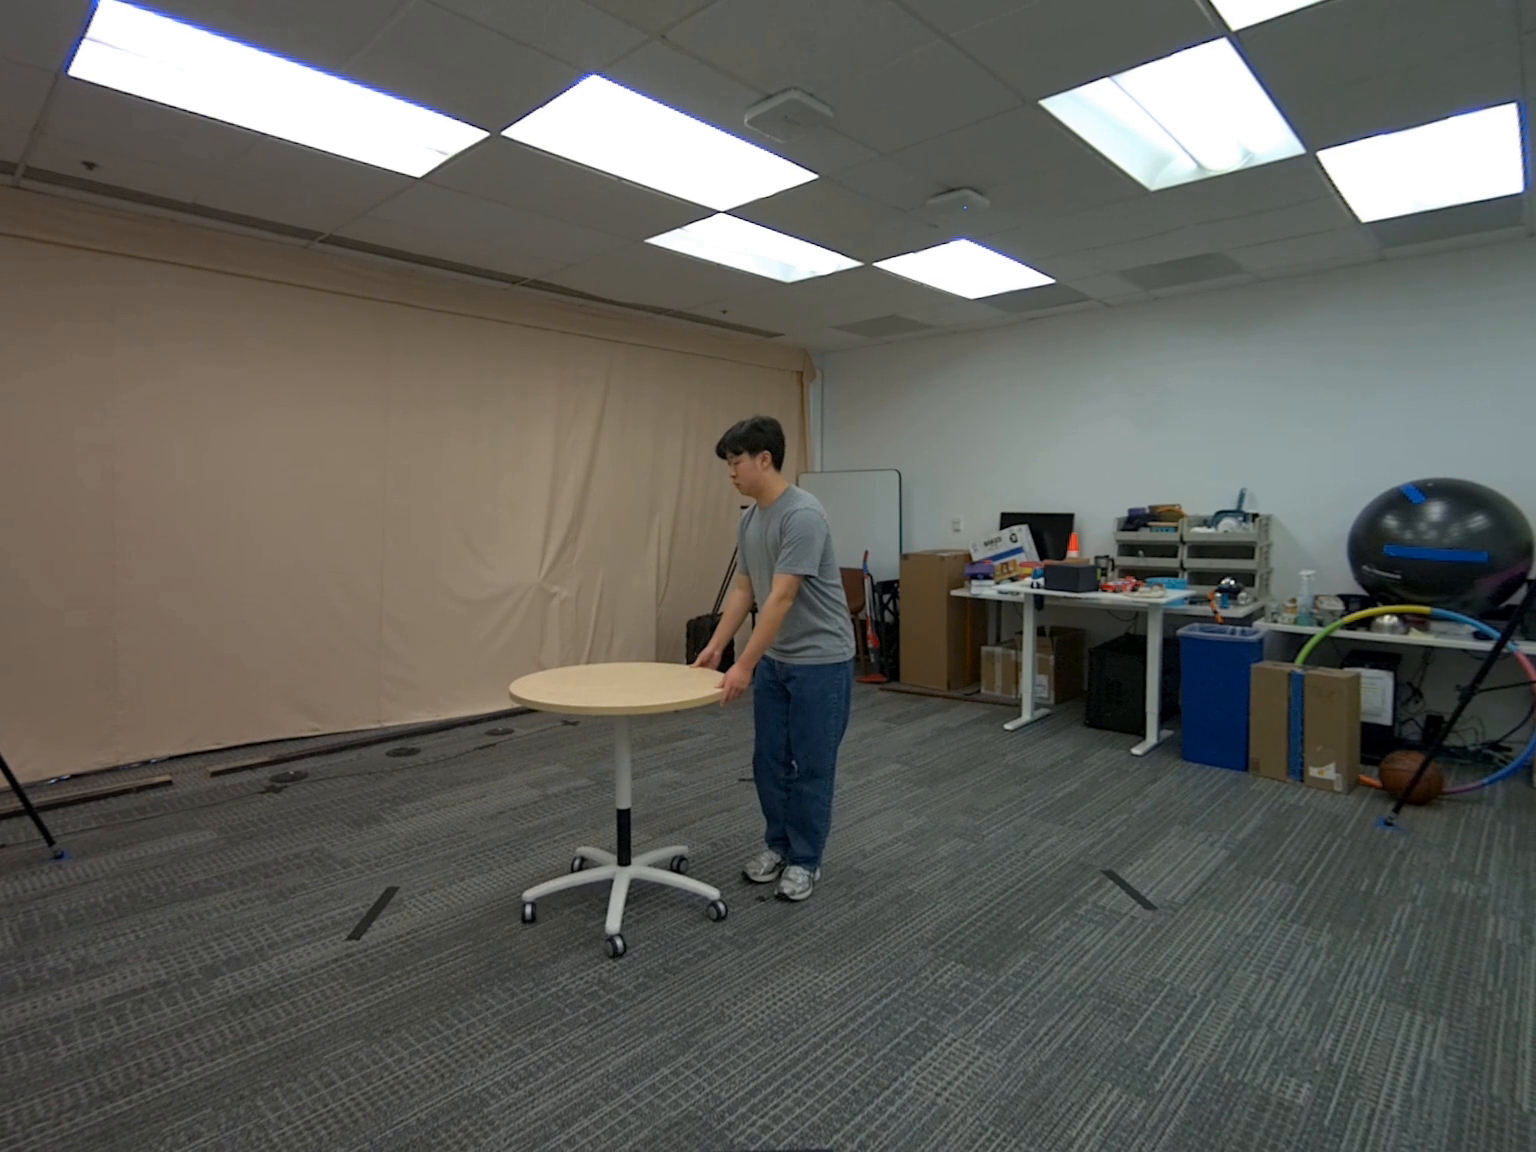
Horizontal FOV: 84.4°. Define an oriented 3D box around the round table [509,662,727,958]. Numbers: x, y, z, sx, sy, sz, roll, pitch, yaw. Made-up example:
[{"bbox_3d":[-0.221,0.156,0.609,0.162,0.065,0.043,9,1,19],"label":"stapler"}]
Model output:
[{"bbox_3d":[-0.499,0.762,2.936,0.763,0.792,0.766,0,3,-2],"label":"round table"}]
